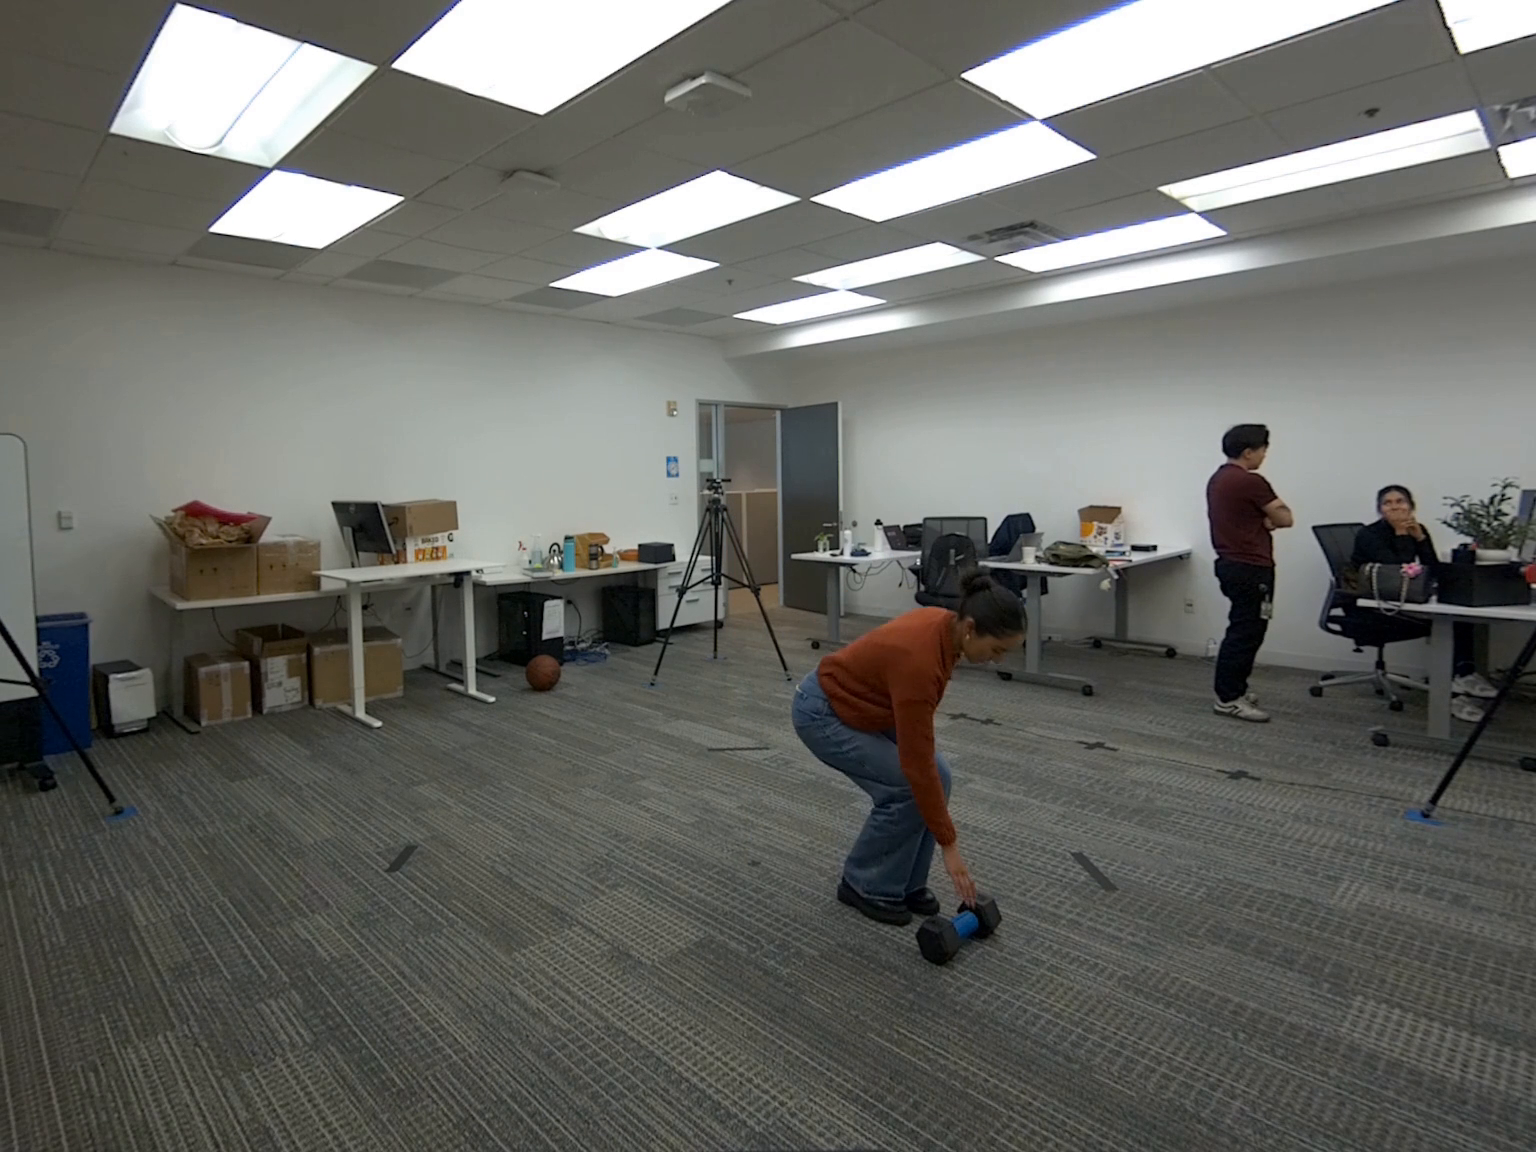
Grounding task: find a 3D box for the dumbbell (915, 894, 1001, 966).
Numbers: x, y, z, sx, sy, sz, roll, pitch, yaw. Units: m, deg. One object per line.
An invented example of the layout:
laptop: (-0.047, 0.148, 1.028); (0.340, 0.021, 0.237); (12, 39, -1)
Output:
dumbbell: (0.577, 1.048, 2.535); (0.286, 0.126, 0.109); (-7, -24, -41)
